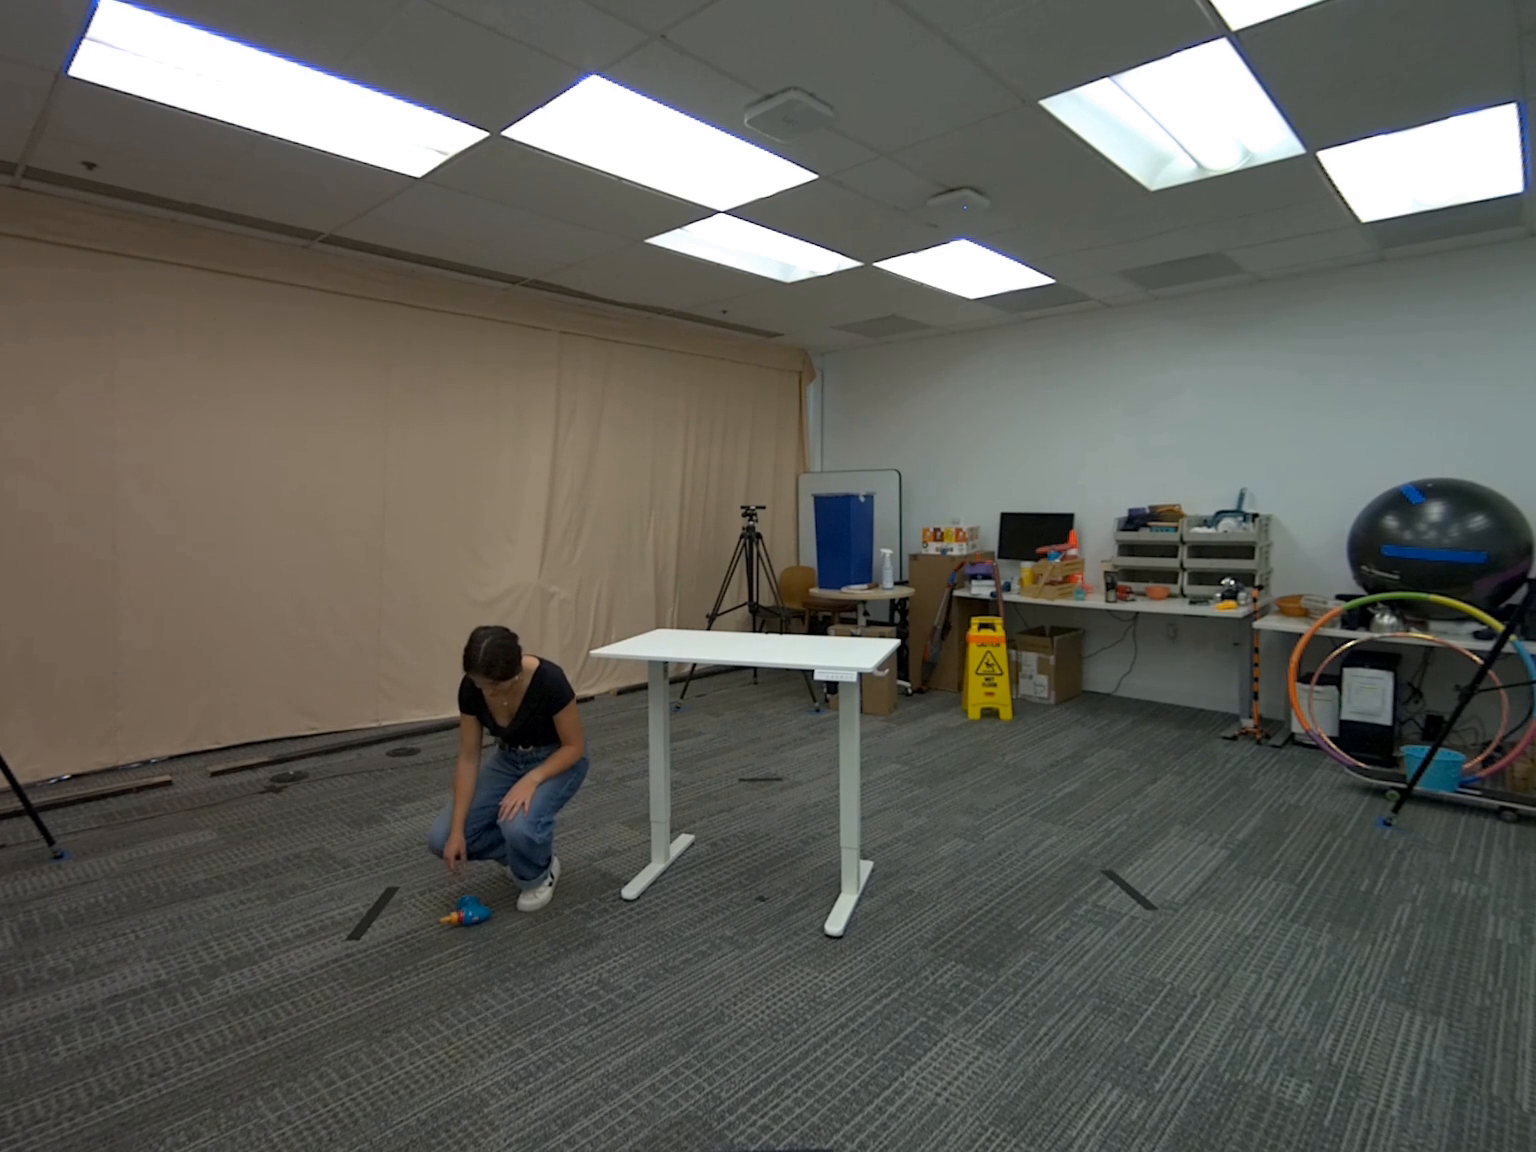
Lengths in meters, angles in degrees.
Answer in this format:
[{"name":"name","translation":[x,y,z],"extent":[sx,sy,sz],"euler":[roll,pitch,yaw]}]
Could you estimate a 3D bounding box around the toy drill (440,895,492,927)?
[{"name":"toy drill","translation":[-1.028,1.131,2.848],"extent":[0.165,0.061,0.151],"euler":[-2,5,-35]}]
